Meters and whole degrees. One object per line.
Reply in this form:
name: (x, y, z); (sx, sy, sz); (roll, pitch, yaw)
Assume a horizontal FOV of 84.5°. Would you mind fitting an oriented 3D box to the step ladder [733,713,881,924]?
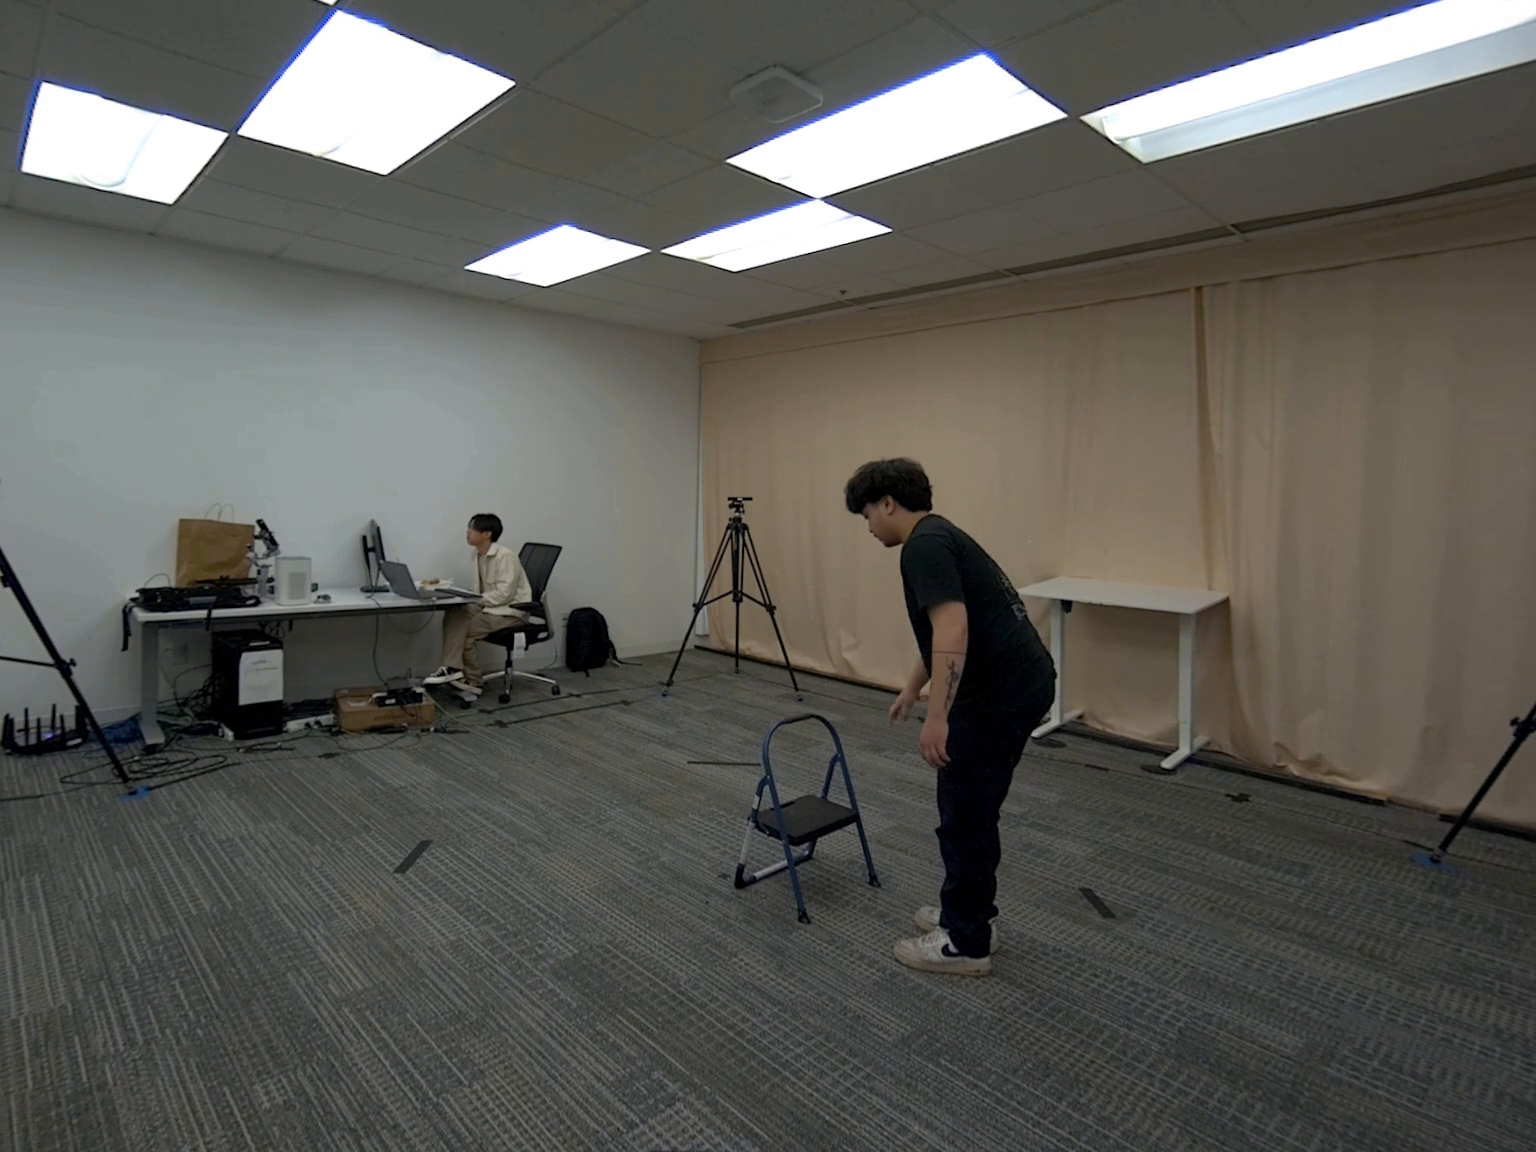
step ladder: (0.144, 0.818, 3.018); (0.358, 0.604, 0.421); (5, 5, 44)
